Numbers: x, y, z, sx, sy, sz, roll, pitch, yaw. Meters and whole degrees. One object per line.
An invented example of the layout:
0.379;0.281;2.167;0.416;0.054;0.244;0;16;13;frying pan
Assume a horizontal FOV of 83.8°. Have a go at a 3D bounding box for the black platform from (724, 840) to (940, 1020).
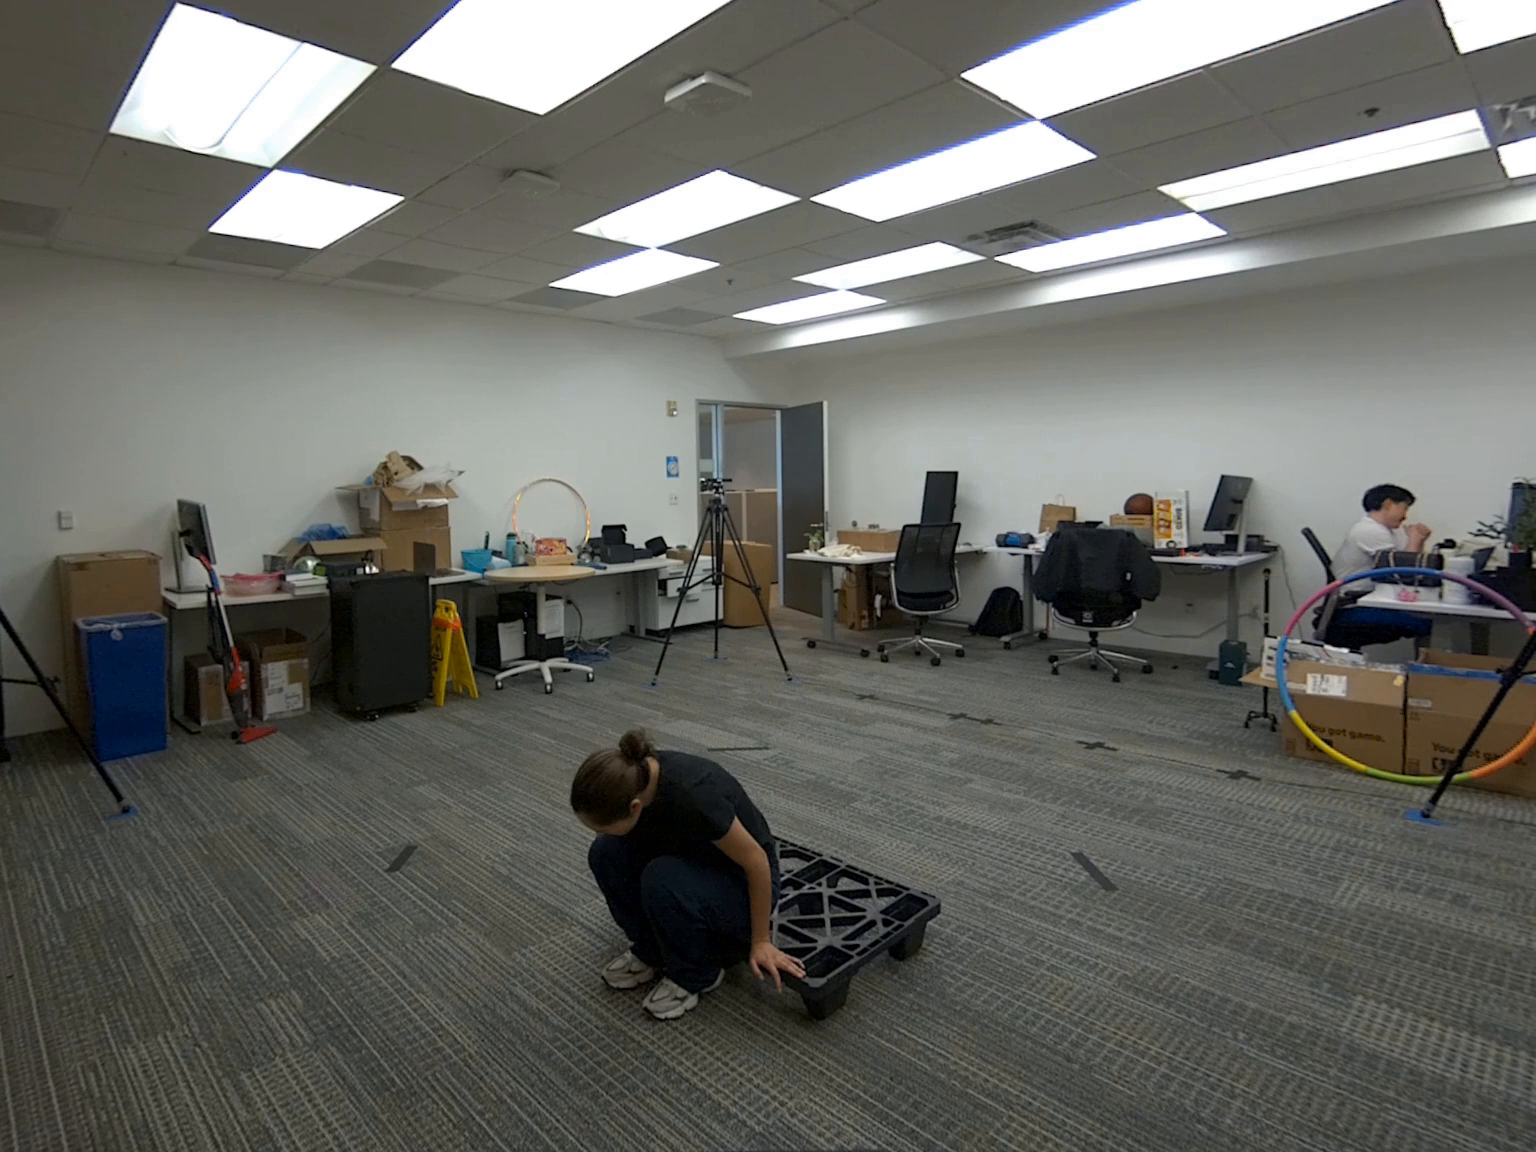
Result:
0.032;1.030;2.644;0.831;0.142;0.589;6;9;43;black platform
